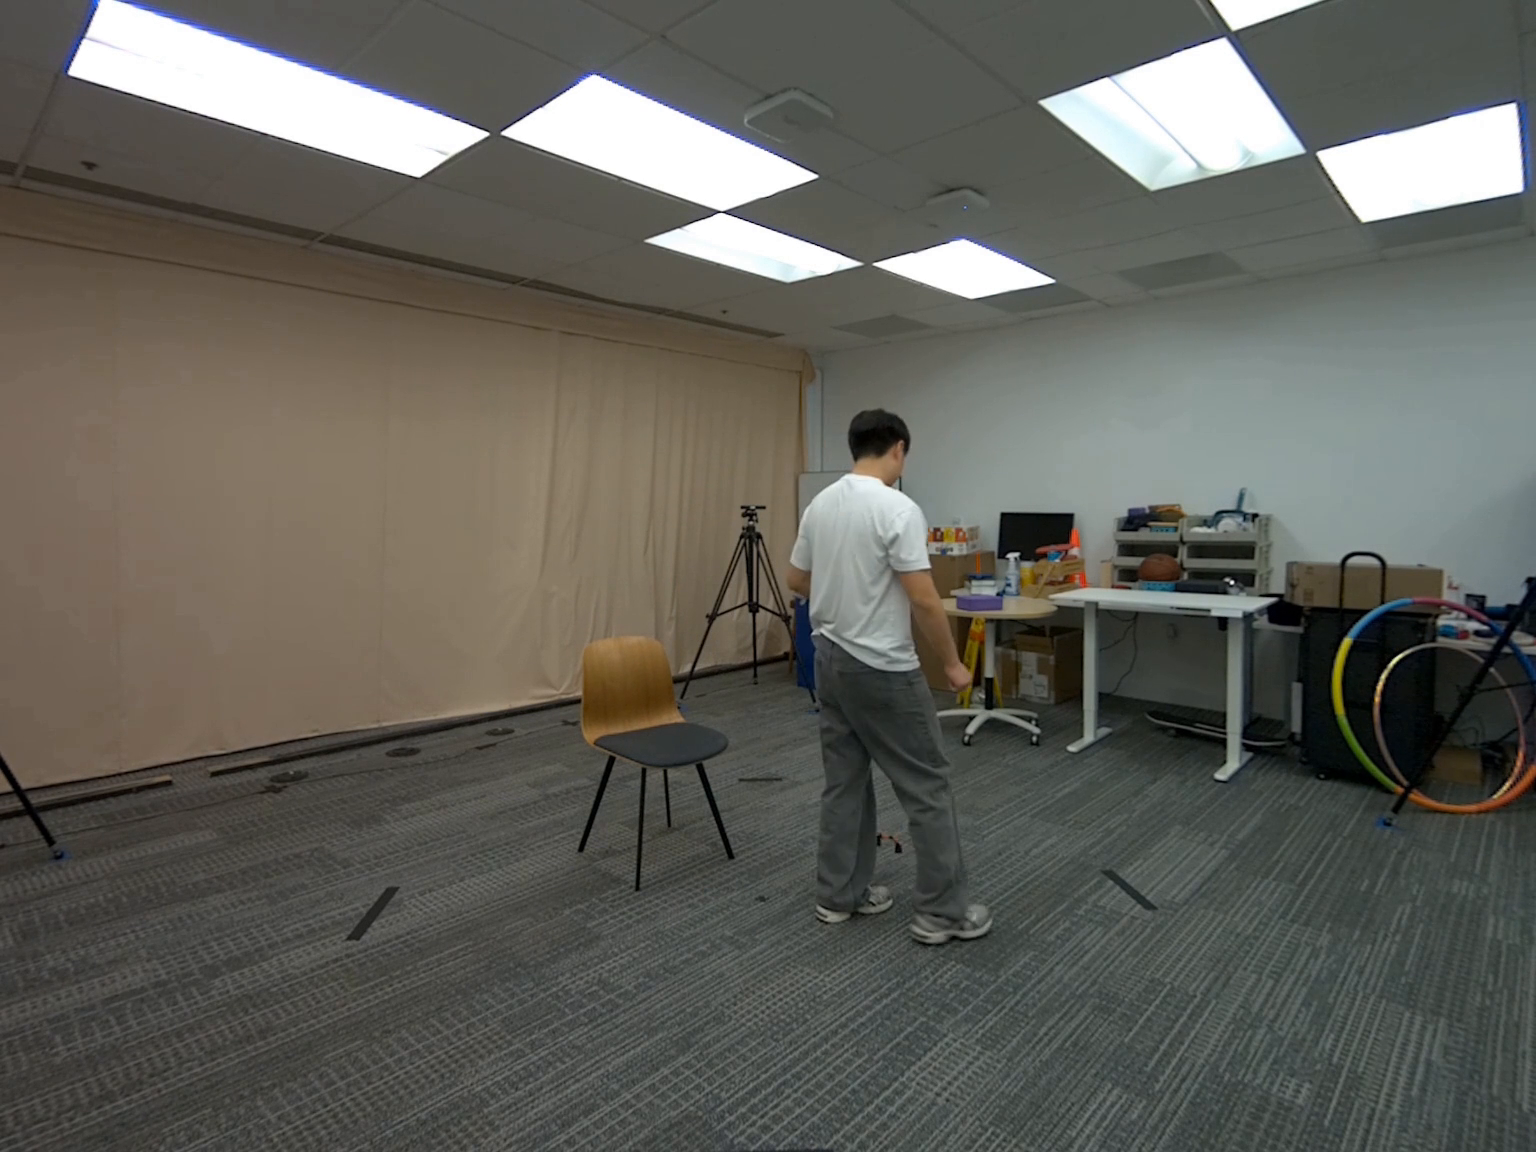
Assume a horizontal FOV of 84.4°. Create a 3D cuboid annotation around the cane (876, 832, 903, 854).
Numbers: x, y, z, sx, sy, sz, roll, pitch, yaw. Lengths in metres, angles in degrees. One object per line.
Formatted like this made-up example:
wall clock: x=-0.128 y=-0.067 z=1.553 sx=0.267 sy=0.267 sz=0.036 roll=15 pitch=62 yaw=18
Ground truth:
cane: x=0.394 y=0.589 z=3.161 sx=0.201 sy=0.910 sz=0.155 roll=3 pitch=-5 yaw=-30
